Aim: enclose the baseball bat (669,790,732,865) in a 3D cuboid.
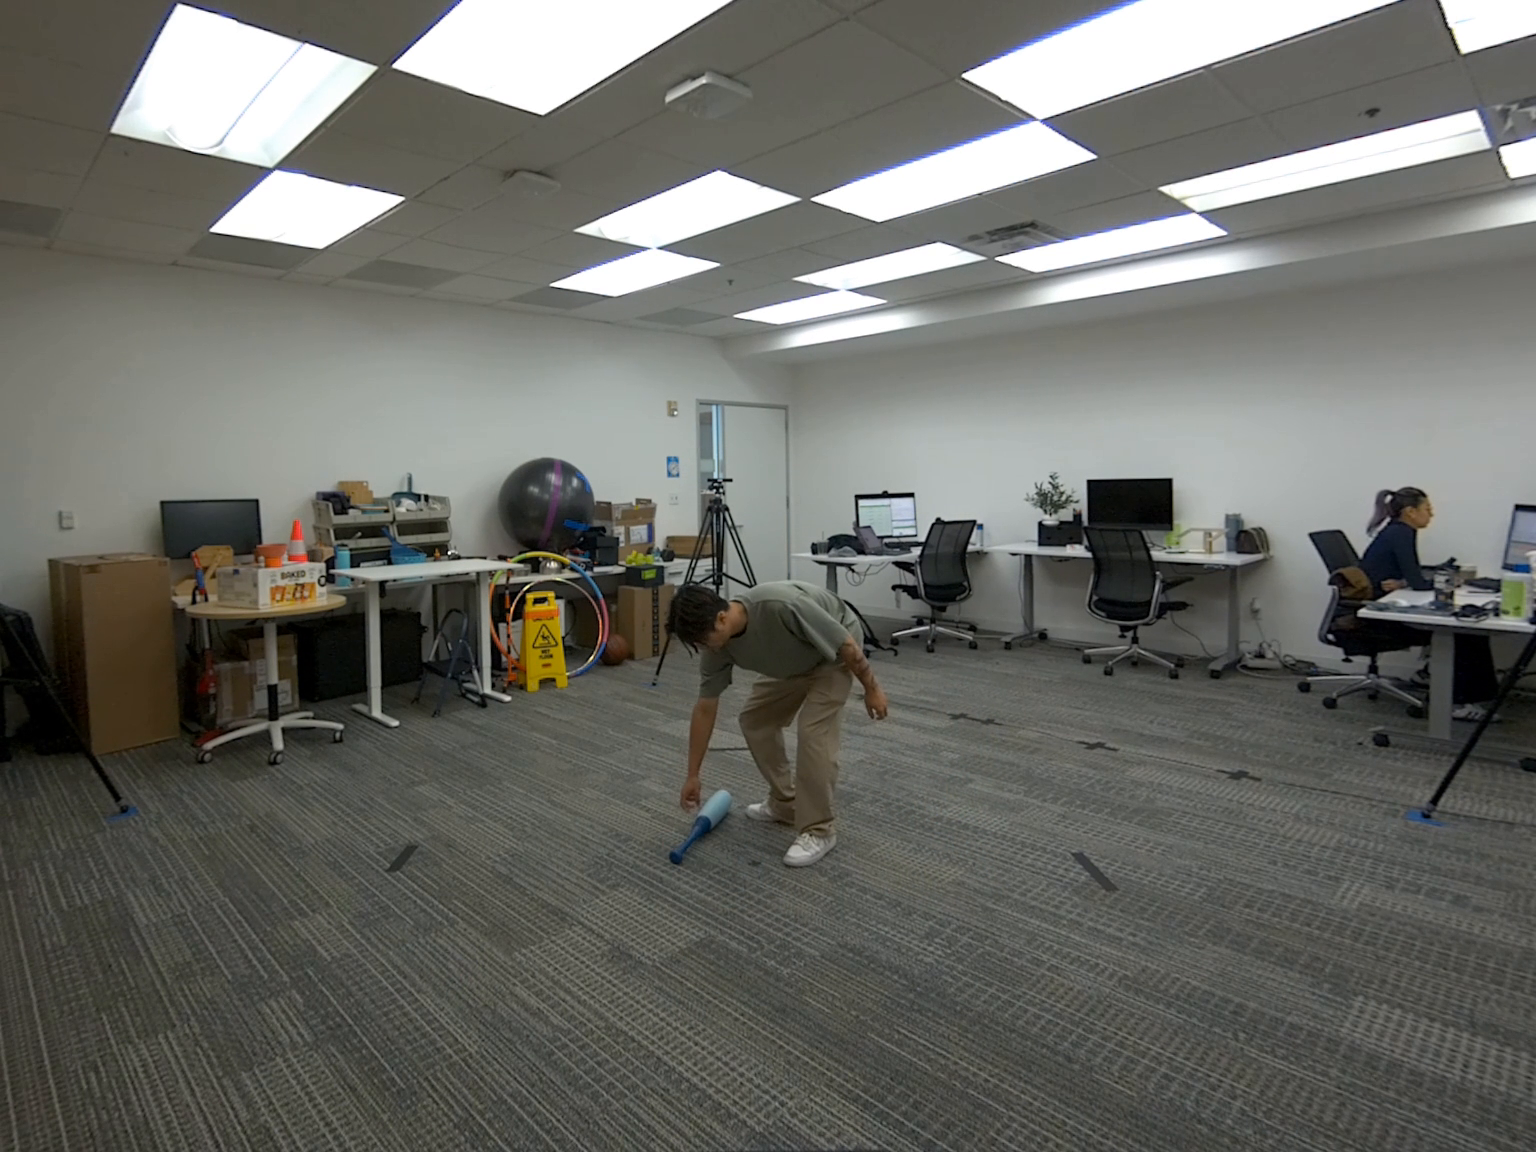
[{"bbox_3d":[-0.257,0.978,3.357,0.090,0.088,0.537,0,9,16],"label":"baseball bat"}]
